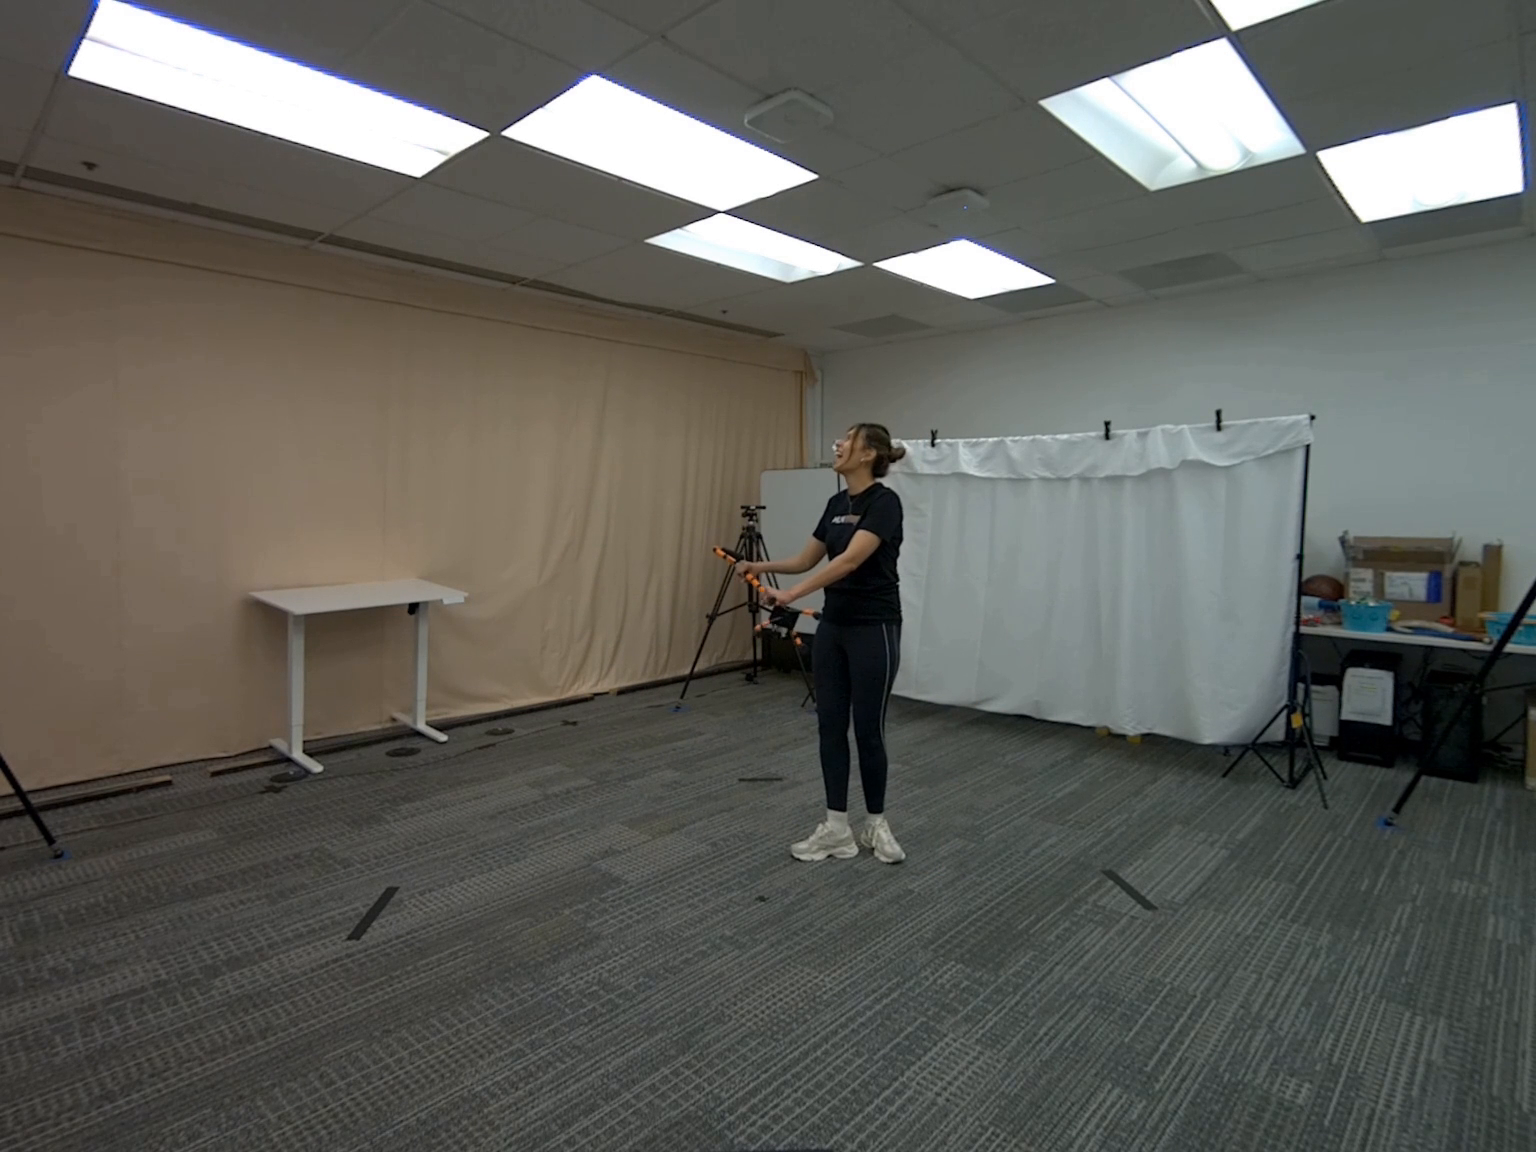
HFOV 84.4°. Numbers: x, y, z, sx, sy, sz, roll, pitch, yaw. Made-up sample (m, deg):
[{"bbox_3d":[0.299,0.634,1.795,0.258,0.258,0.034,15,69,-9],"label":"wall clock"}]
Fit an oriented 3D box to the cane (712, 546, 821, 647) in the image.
[{"bbox_3d":[-0.070,0.037,3.245,0.202,0.151,0.929,22,10,-21],"label":"cane"}]
